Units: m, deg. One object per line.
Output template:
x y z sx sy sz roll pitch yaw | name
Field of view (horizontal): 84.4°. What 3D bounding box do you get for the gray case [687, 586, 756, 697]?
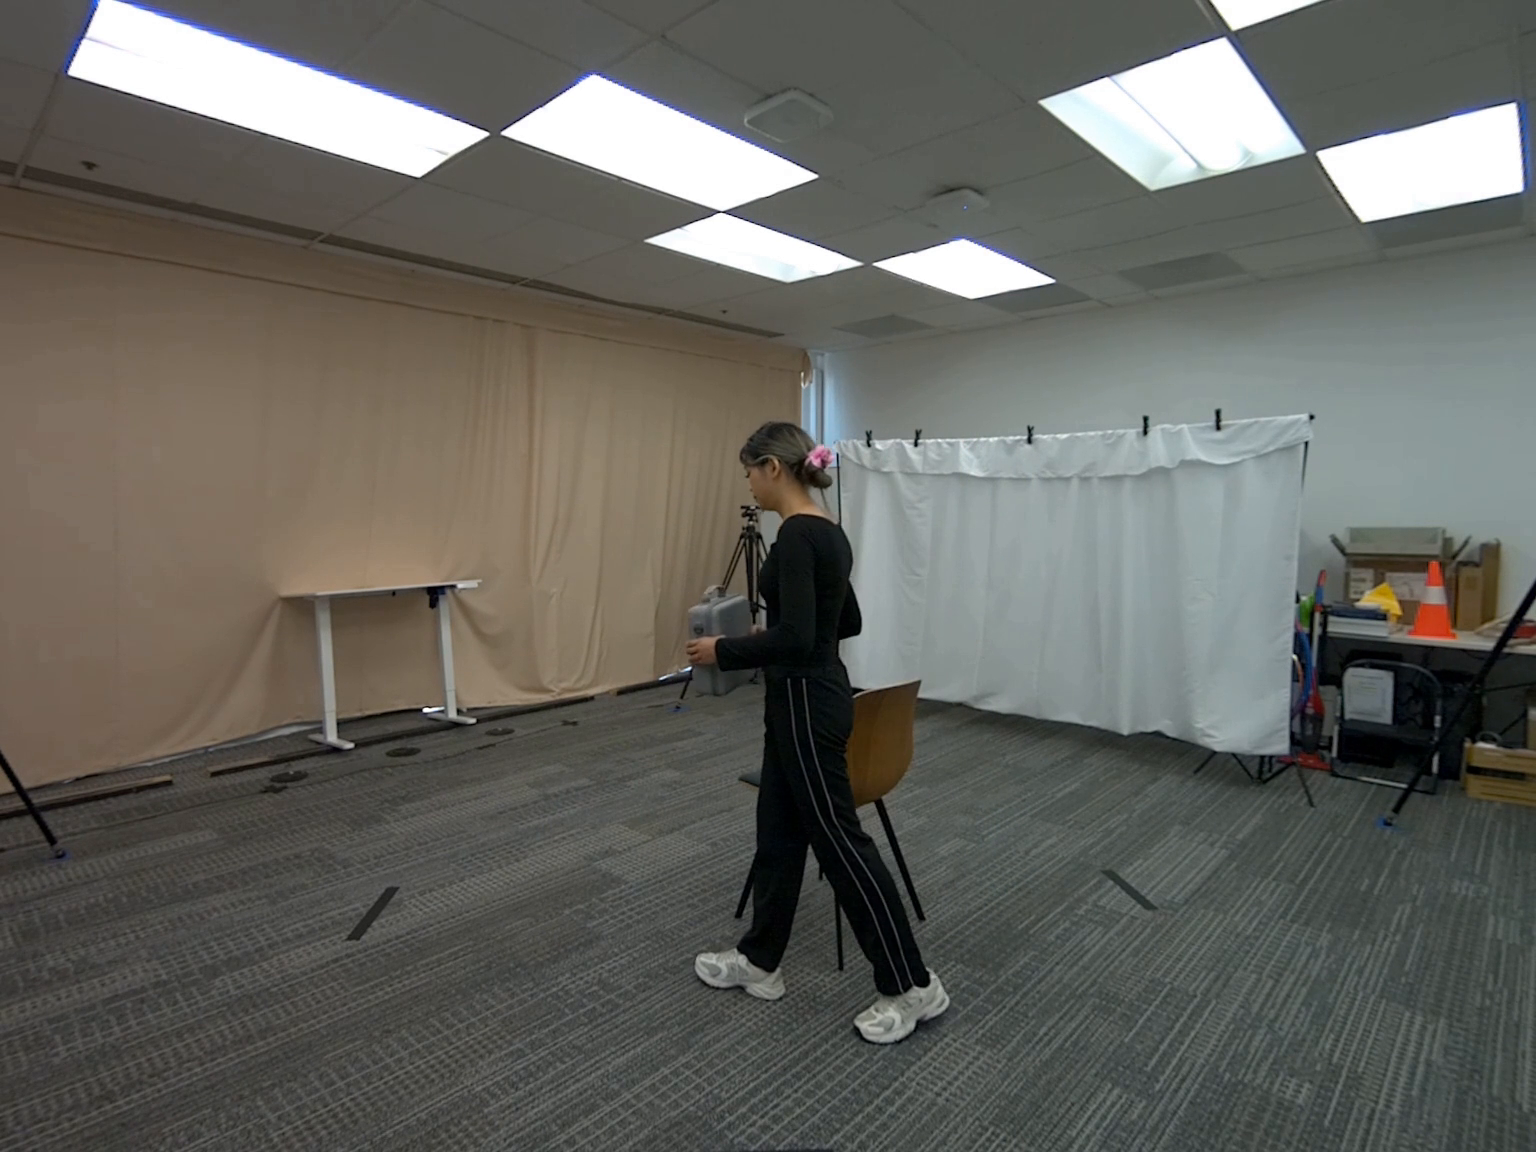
-0.121 0.189 2.402 0.106 0.260 0.252 -6 4 23 | gray case
